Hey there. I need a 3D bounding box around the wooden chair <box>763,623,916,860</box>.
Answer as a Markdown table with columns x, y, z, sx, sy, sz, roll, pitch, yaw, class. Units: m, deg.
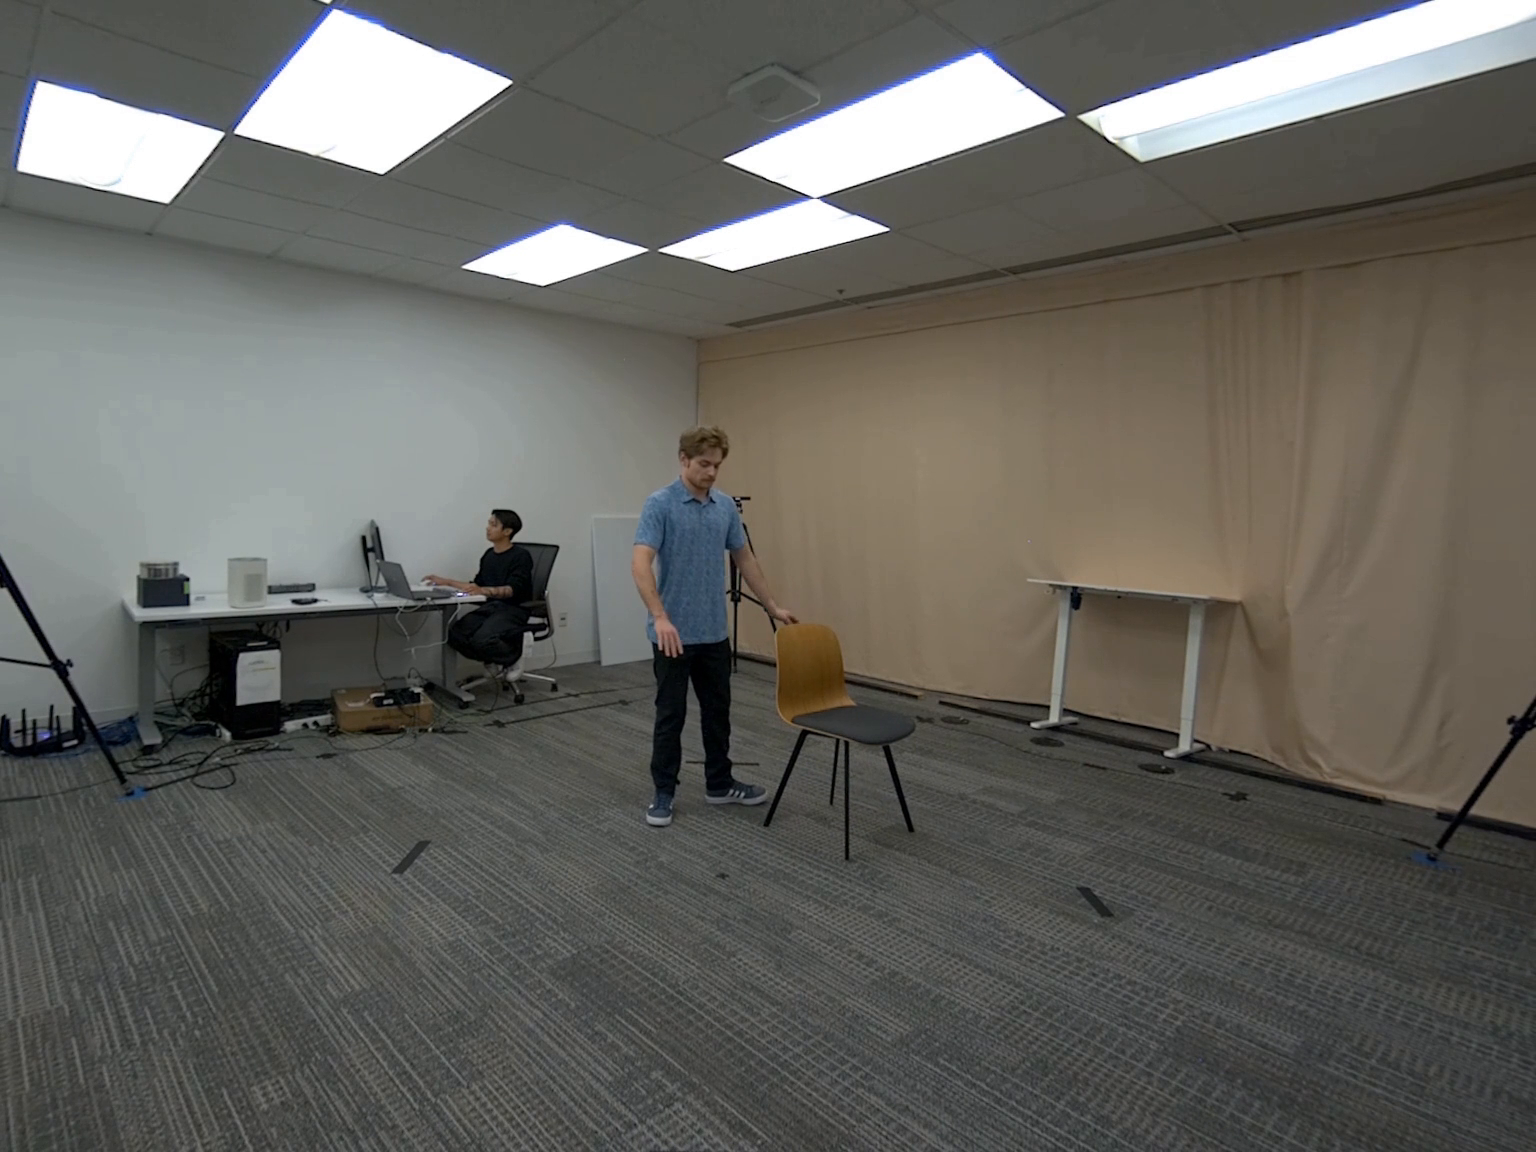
| x | y | z | sx | sy | sz | roll | pitch | yaw | class |
| --- | --- | --- | --- | --- | --- | --- | --- | --- | --- |
| 0.308 | 0.650 | 3.538 | 0.467 | 0.878 | 0.535 | -1 | -1 | -45 | wooden chair |
